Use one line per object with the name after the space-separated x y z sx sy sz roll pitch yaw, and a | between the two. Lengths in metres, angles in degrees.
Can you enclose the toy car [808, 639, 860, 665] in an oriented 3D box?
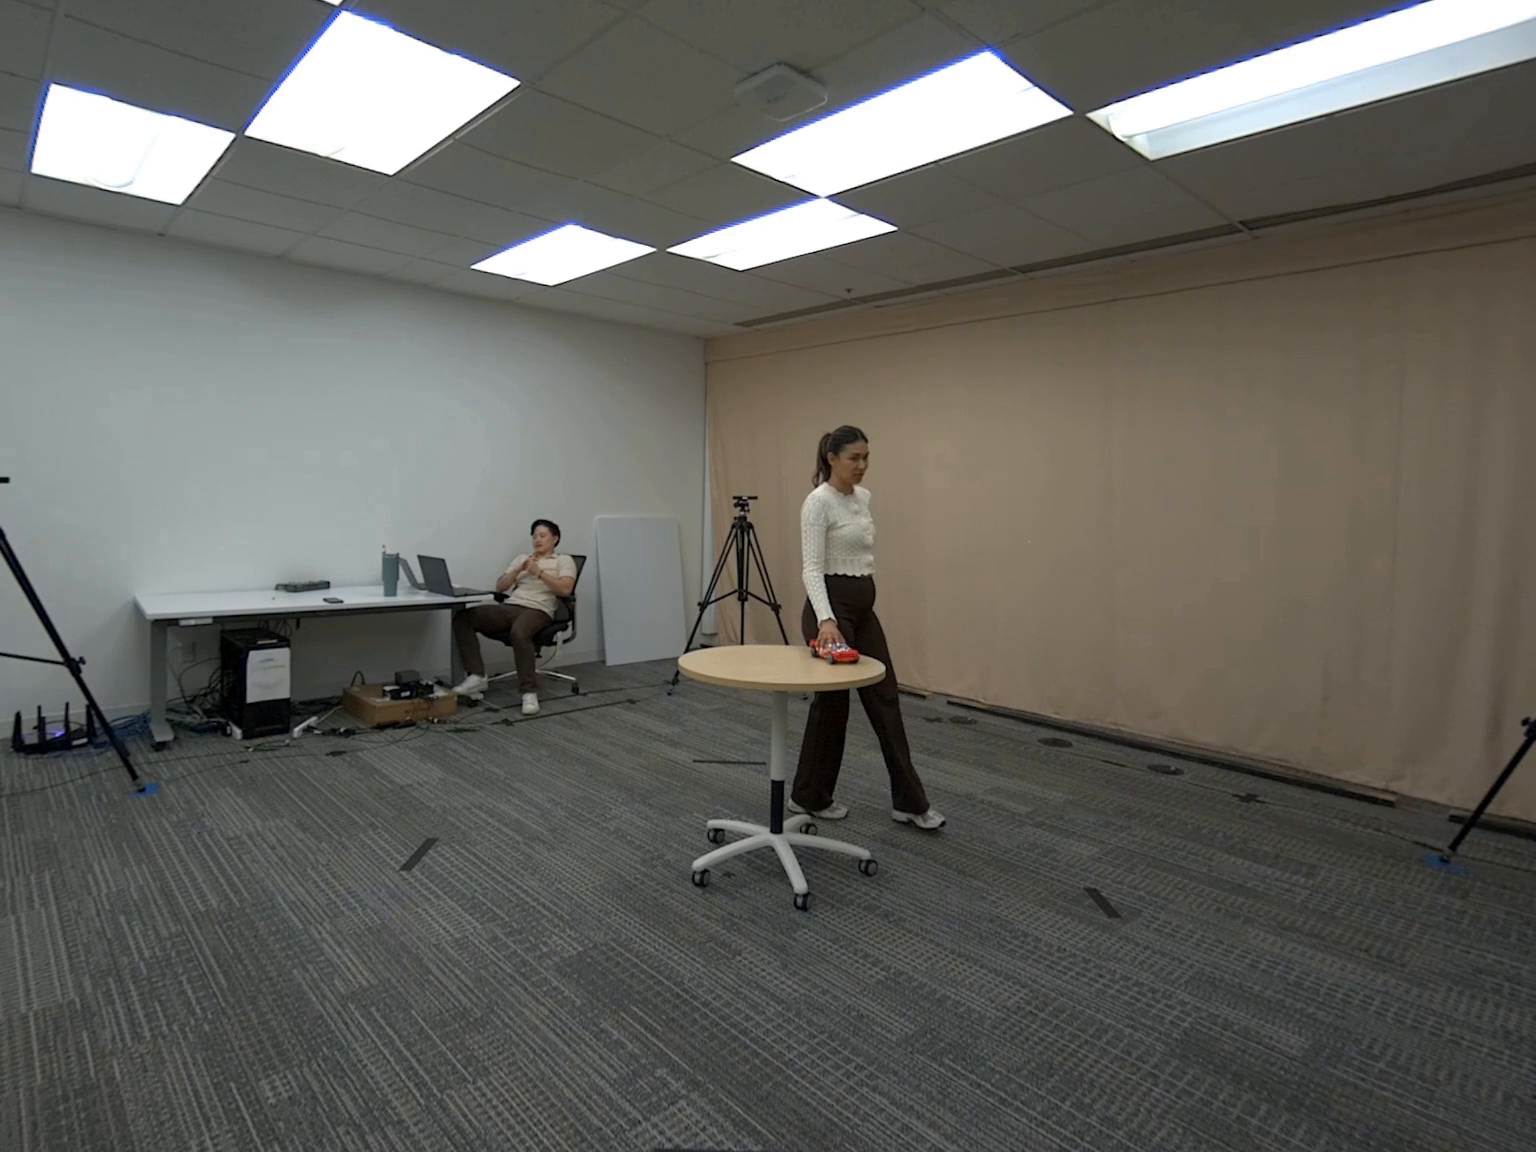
0.234 0.286 3.208 0.128 0.082 0.260 1 14 -19 | toy car
